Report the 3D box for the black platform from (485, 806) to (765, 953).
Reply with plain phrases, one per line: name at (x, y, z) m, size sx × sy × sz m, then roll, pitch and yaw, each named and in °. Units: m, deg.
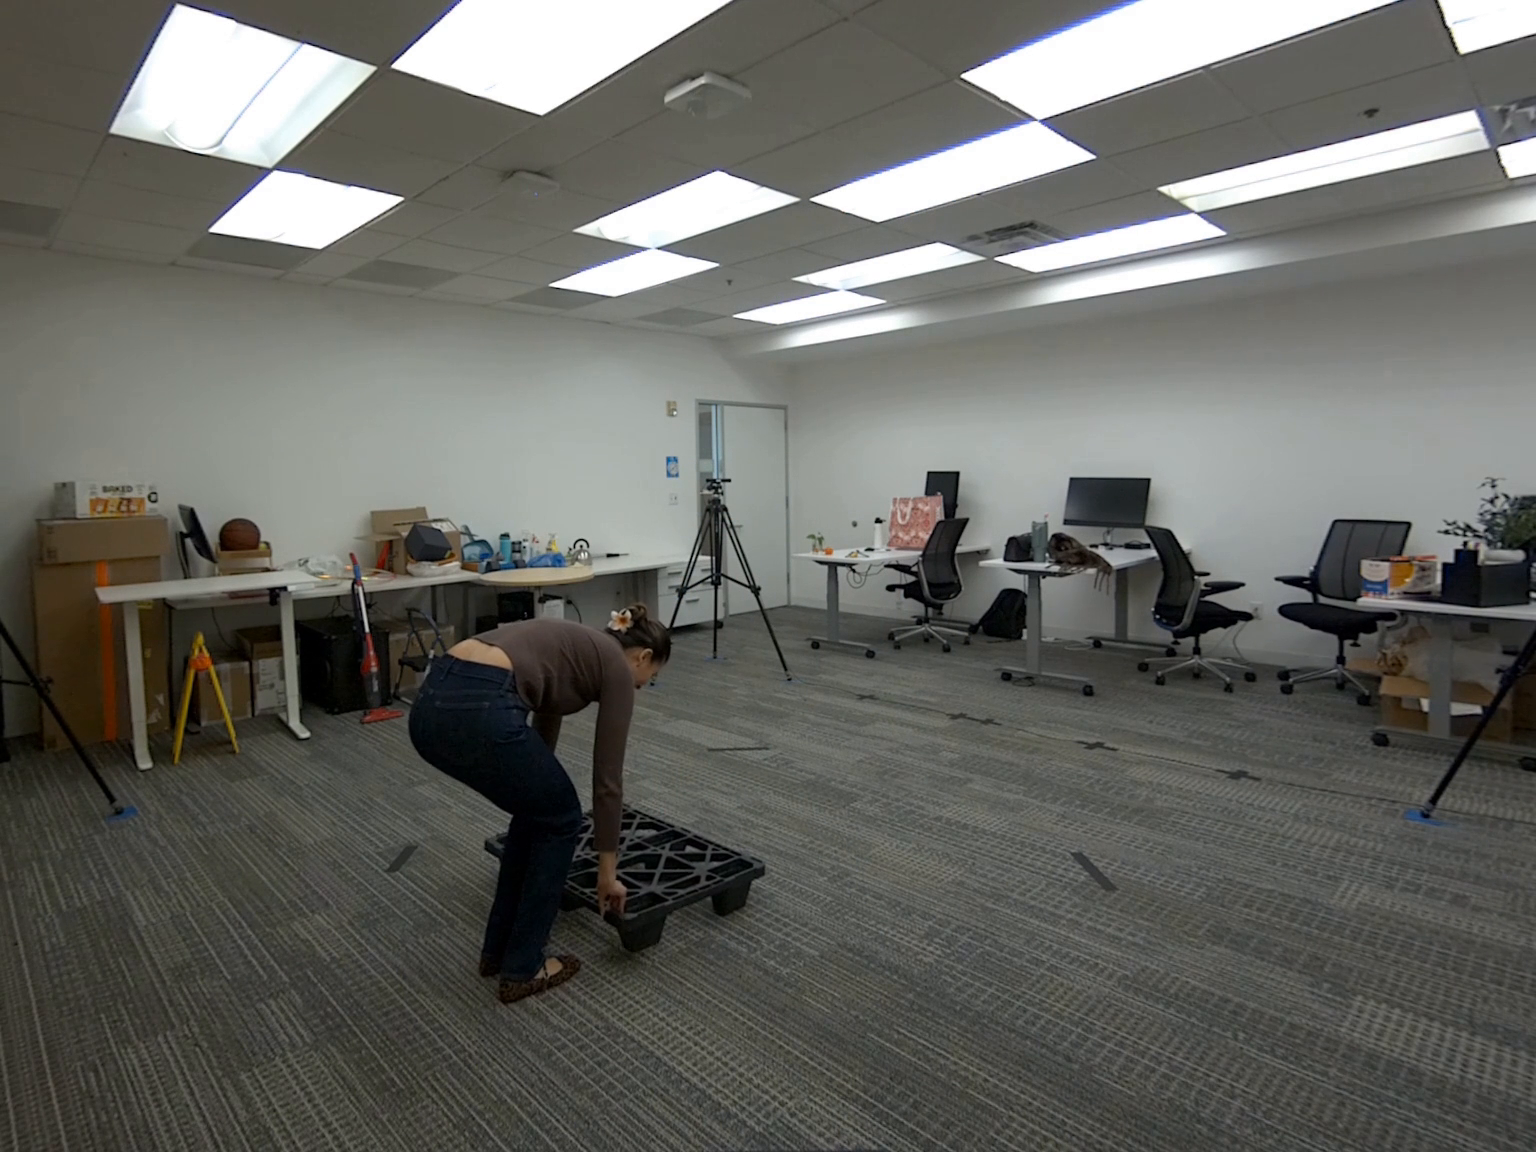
black platform at (-0.494, 0.998, 2.899) m, size 0.831 × 0.143 × 0.588 m, roll 5°, pitch 5°, yaw 44°
